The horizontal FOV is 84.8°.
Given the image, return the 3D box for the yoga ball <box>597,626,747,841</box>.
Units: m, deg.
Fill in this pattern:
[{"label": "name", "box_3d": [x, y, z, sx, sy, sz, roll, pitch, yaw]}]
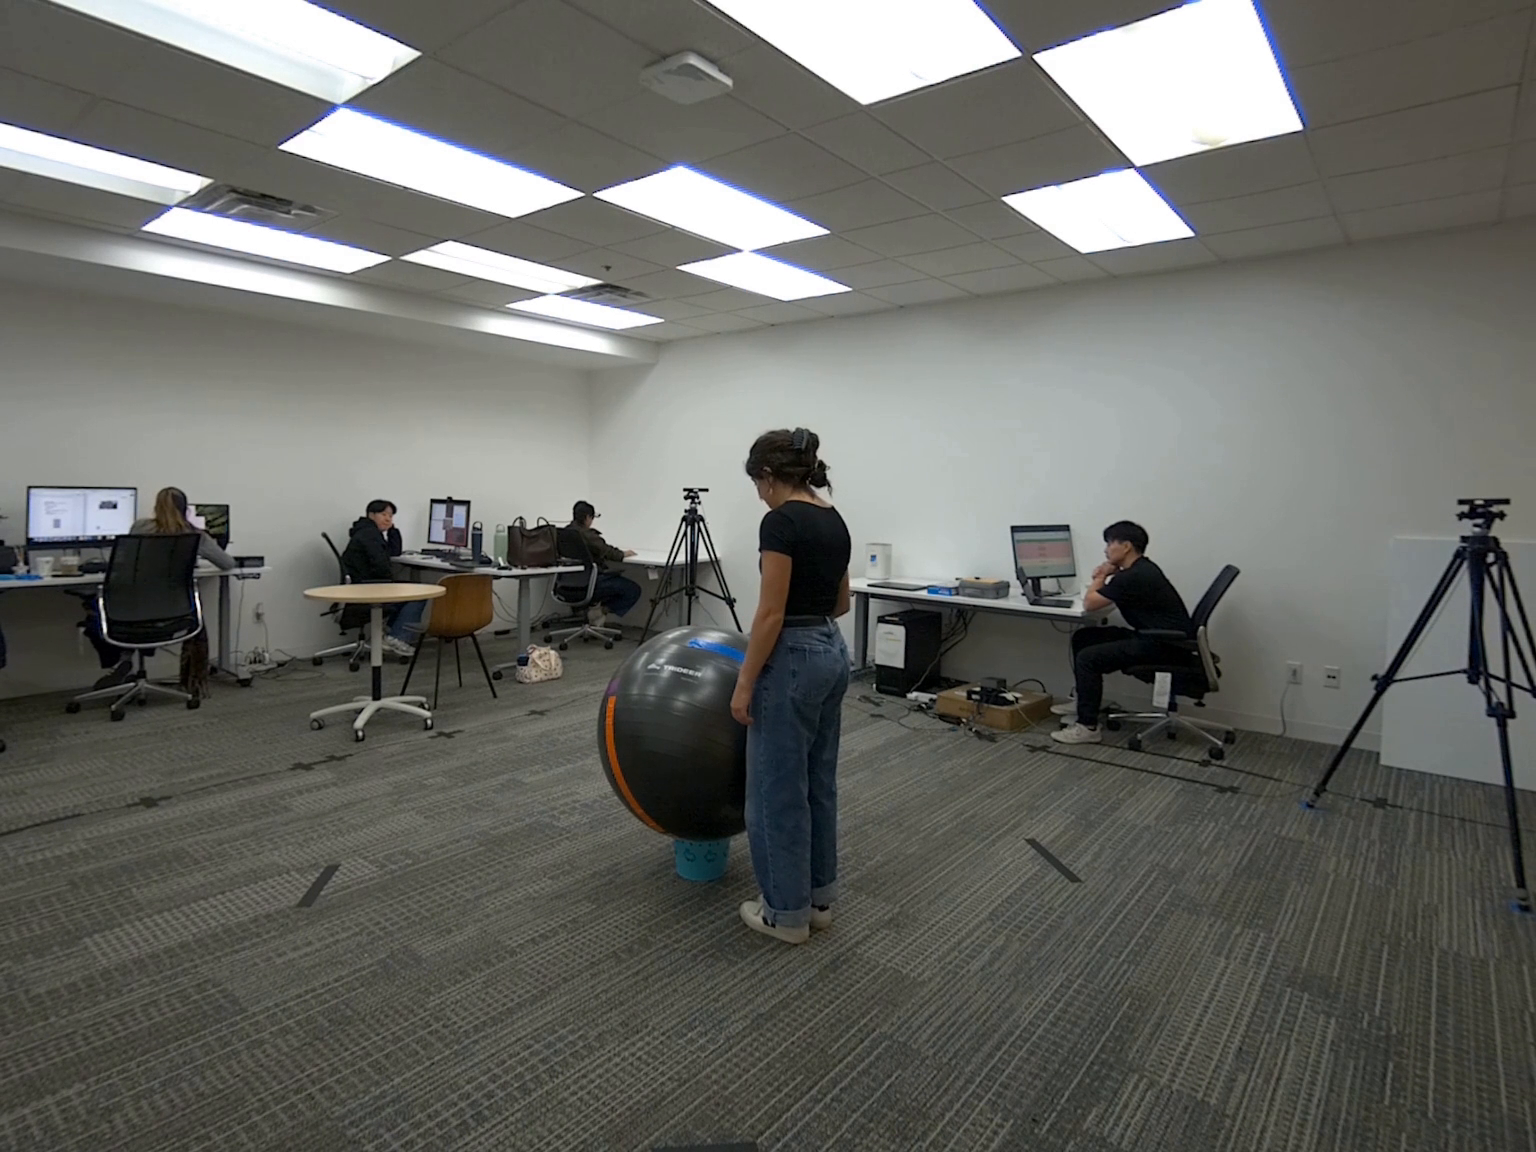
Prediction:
[{"label": "yoga ball", "box_3d": [-0.248, 0.559, 3.090, 0.757, 0.756, 0.762, 1, 4, -2]}]
